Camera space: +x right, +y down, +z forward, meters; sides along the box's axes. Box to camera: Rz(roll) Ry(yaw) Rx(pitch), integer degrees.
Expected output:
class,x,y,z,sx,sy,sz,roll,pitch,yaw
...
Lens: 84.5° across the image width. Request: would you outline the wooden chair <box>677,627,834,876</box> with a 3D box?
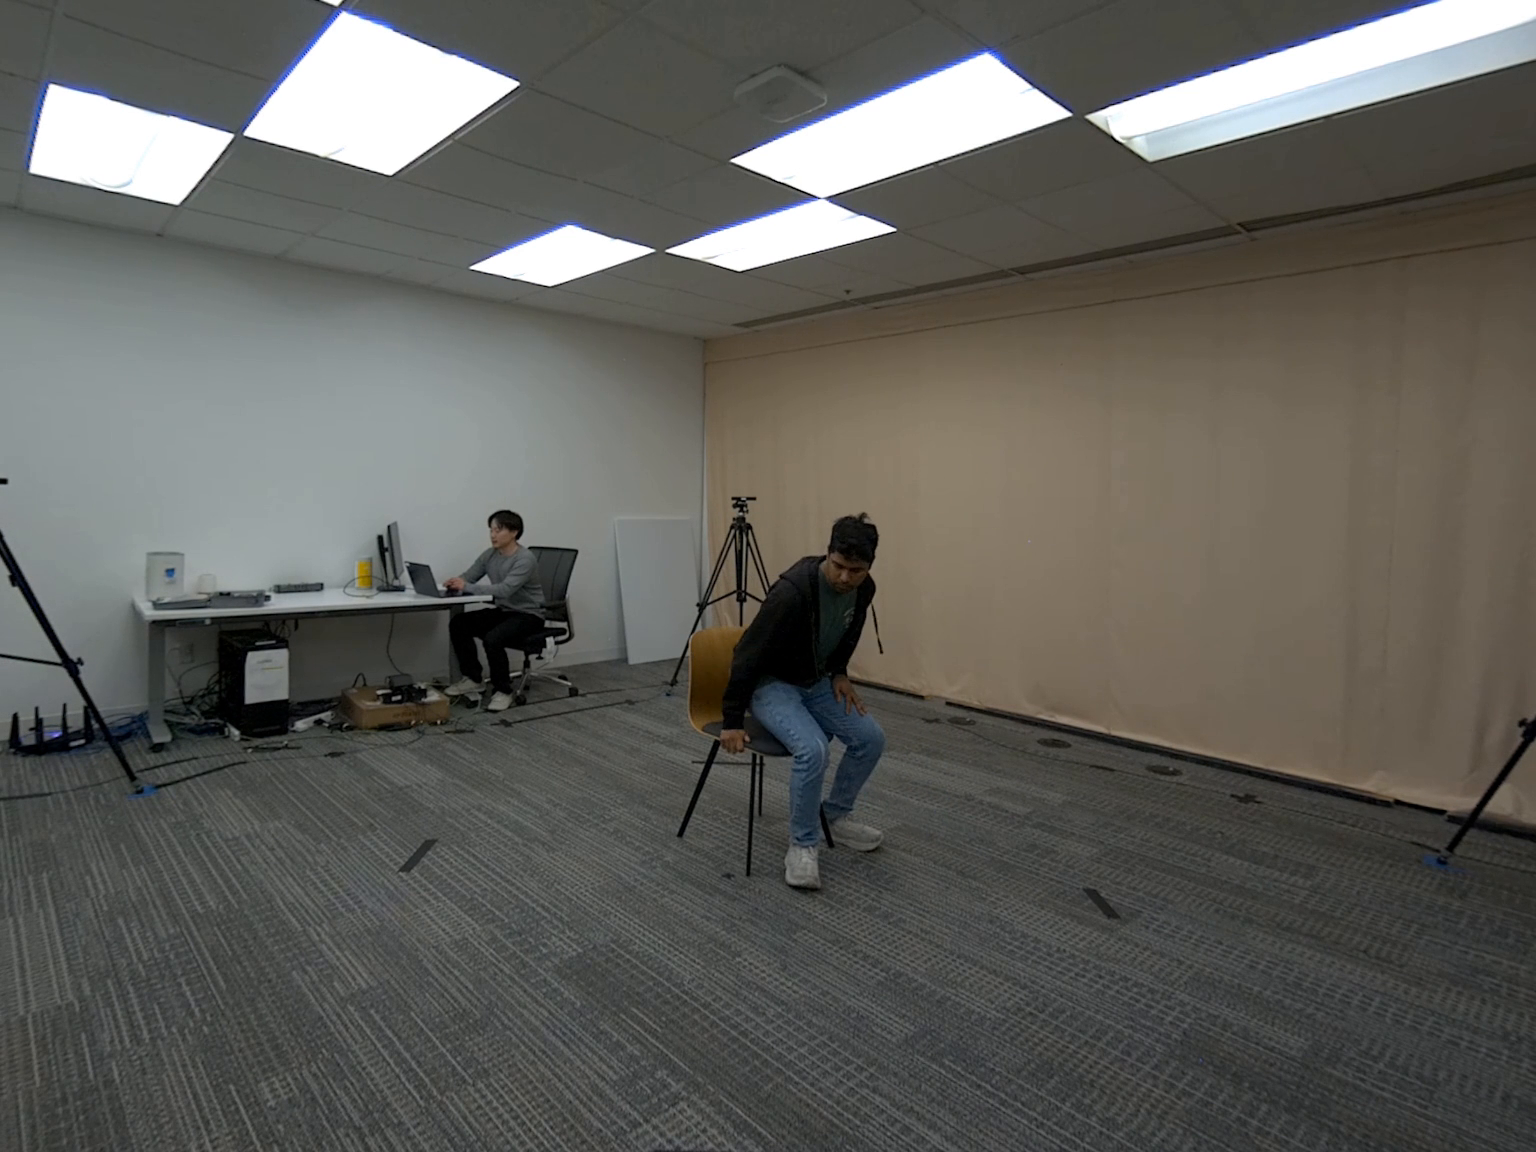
class,x,y,z,sx,sy,sz,roll,pitch,yaw
wooden chair,-0.048,0.656,3.373,0.467,0.877,0.535,-1,0,-40
